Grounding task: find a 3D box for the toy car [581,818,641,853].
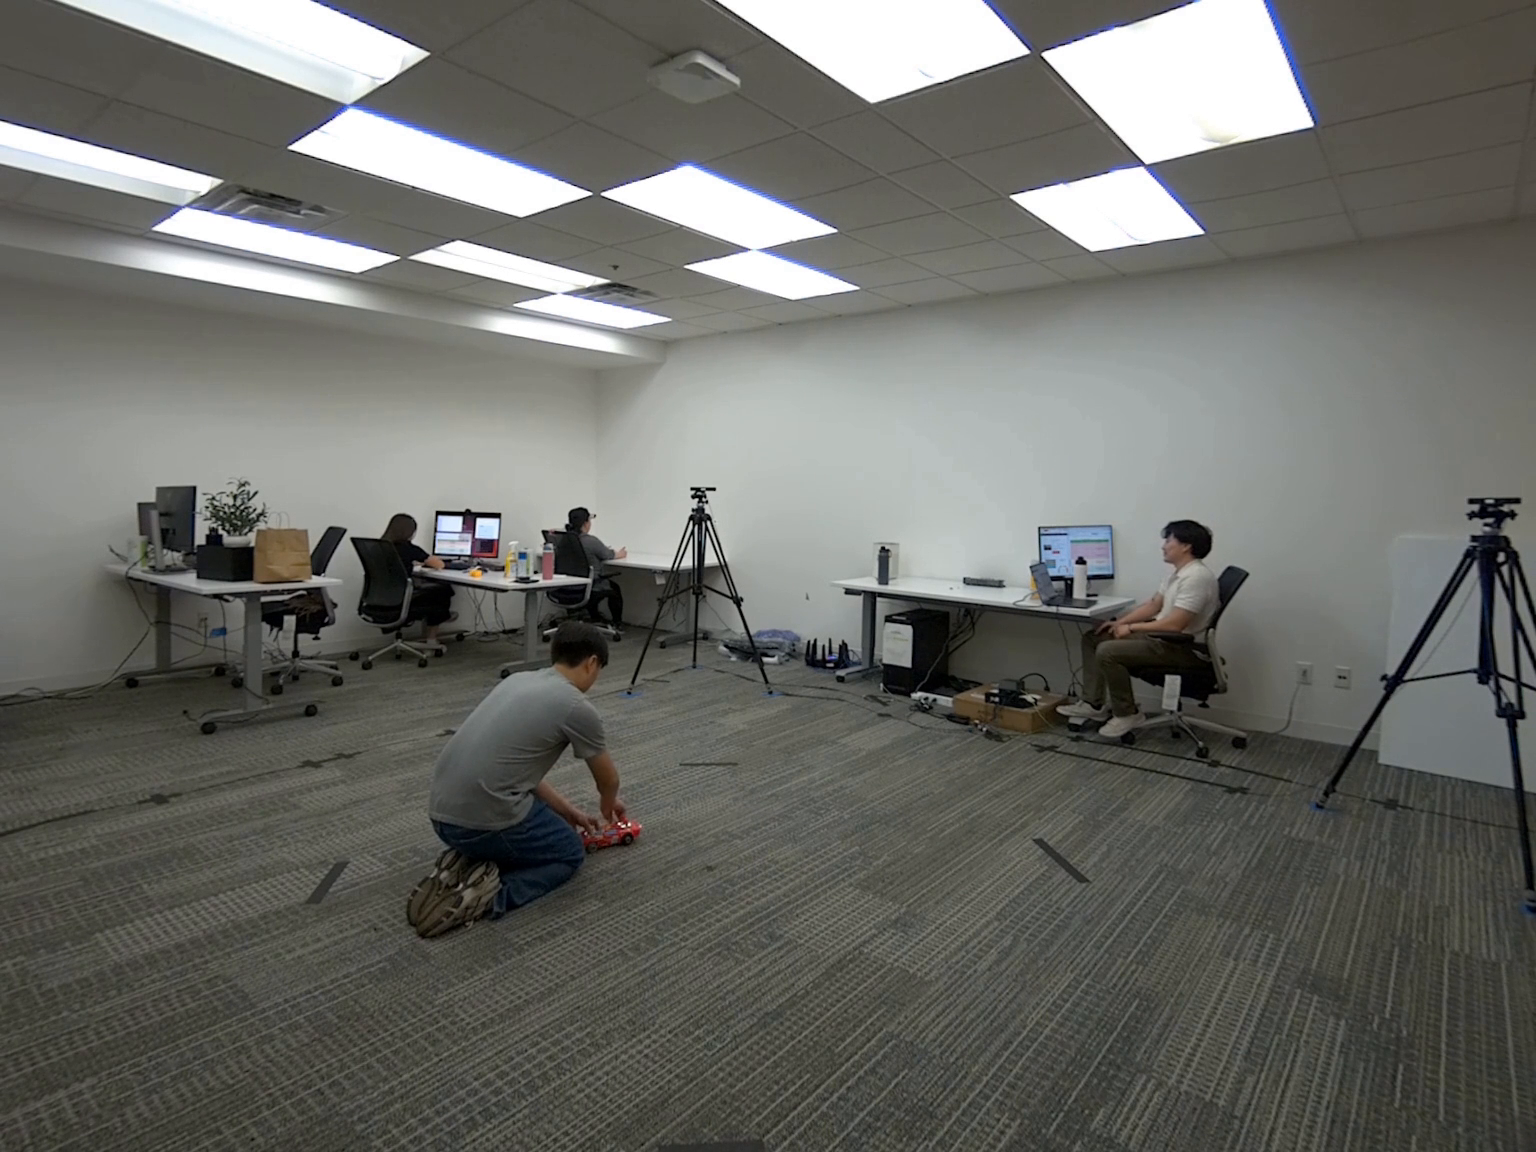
[{"bbox_3d":[-0.623,1.009,3.312,0.249,0.082,0.134,-16,11,-29],"label":"toy car"}]
